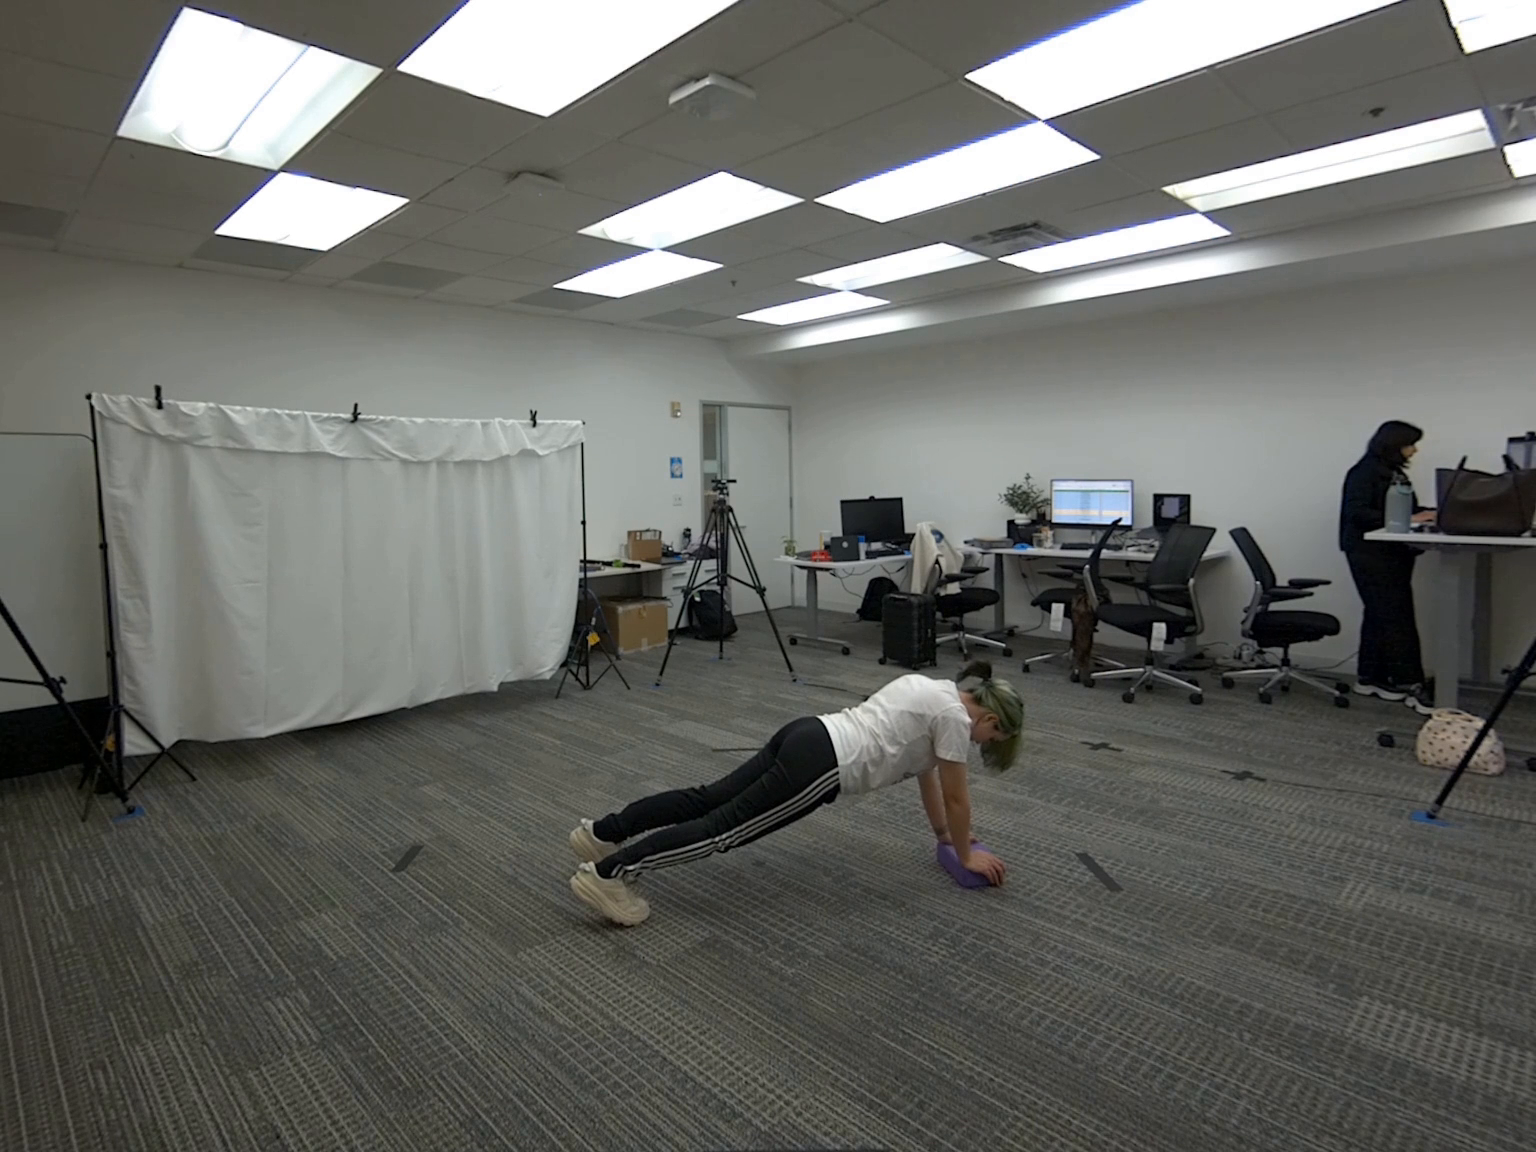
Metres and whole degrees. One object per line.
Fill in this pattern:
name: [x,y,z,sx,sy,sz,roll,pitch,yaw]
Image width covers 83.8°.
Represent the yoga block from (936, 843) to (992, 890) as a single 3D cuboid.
yoga block: [0.705,1.006,3.009,0.148,0.076,0.232,-2,5,-10]
